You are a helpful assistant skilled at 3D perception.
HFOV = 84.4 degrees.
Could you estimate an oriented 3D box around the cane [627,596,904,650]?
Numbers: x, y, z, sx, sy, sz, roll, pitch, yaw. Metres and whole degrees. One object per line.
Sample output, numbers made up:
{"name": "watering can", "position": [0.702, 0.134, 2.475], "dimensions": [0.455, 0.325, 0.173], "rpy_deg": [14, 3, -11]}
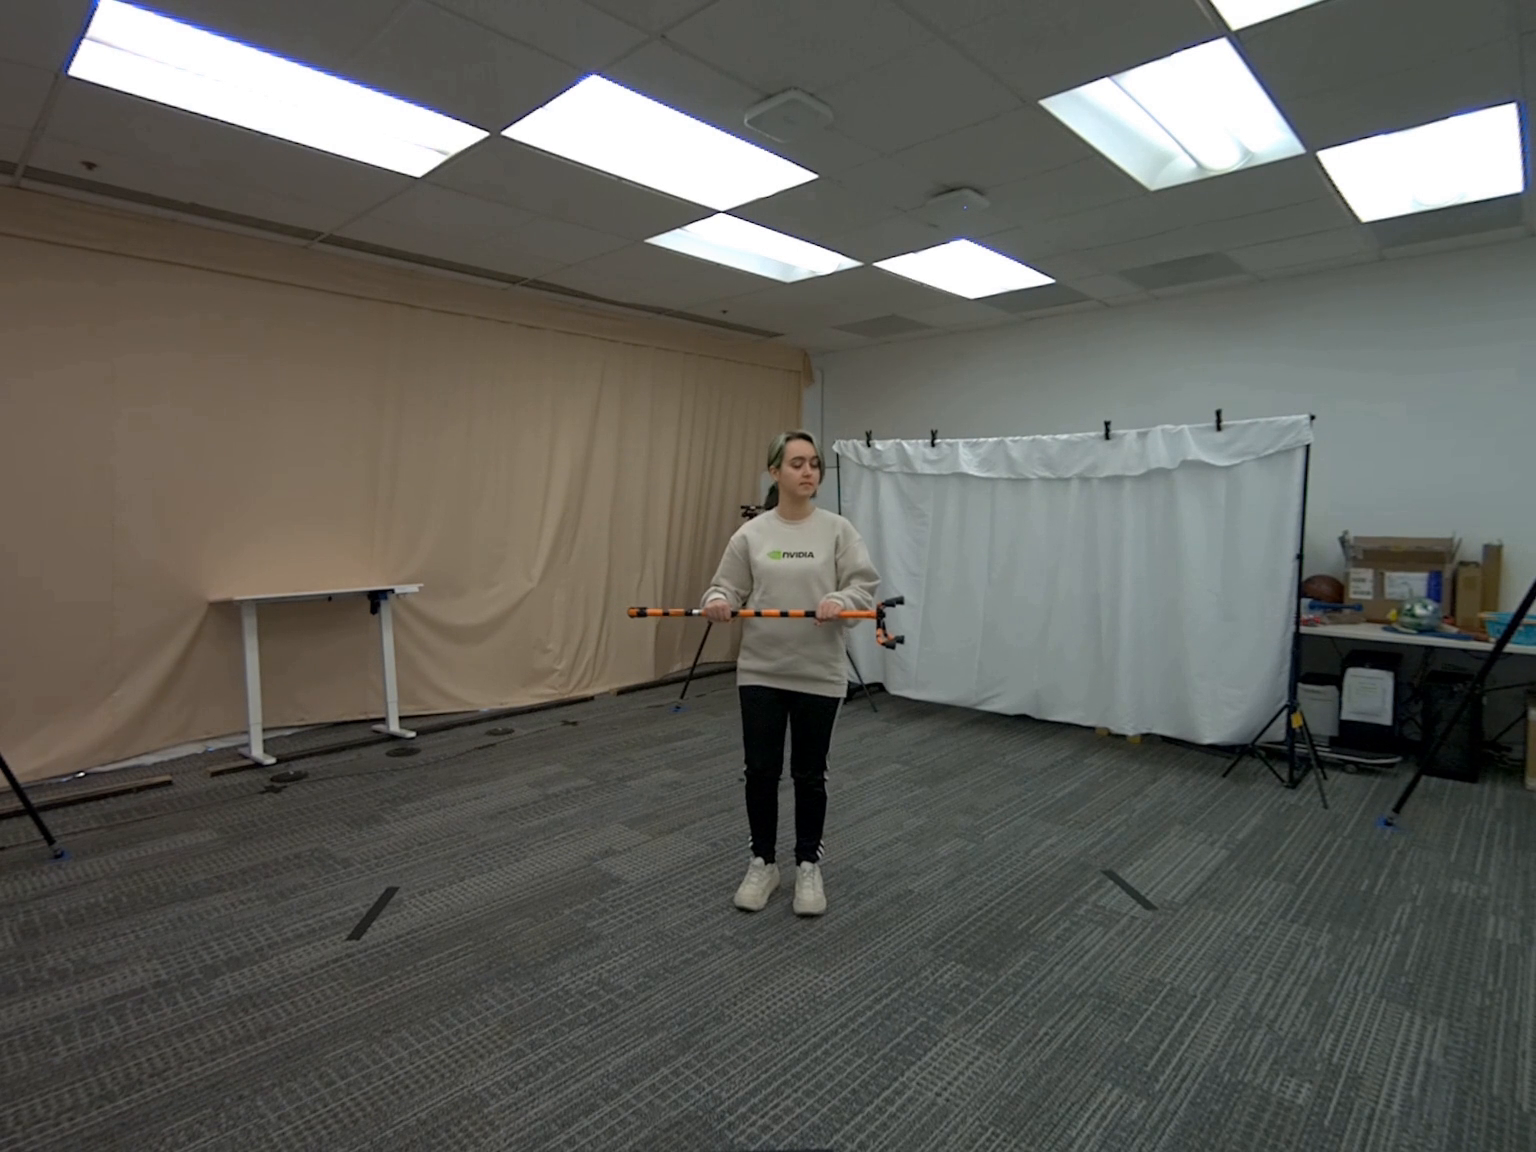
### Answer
{"name": "cane", "position": [-0.040, 0.140, 2.672], "dimensions": [0.925, 0.152, 0.202], "rpy_deg": [1, -1, 17]}
